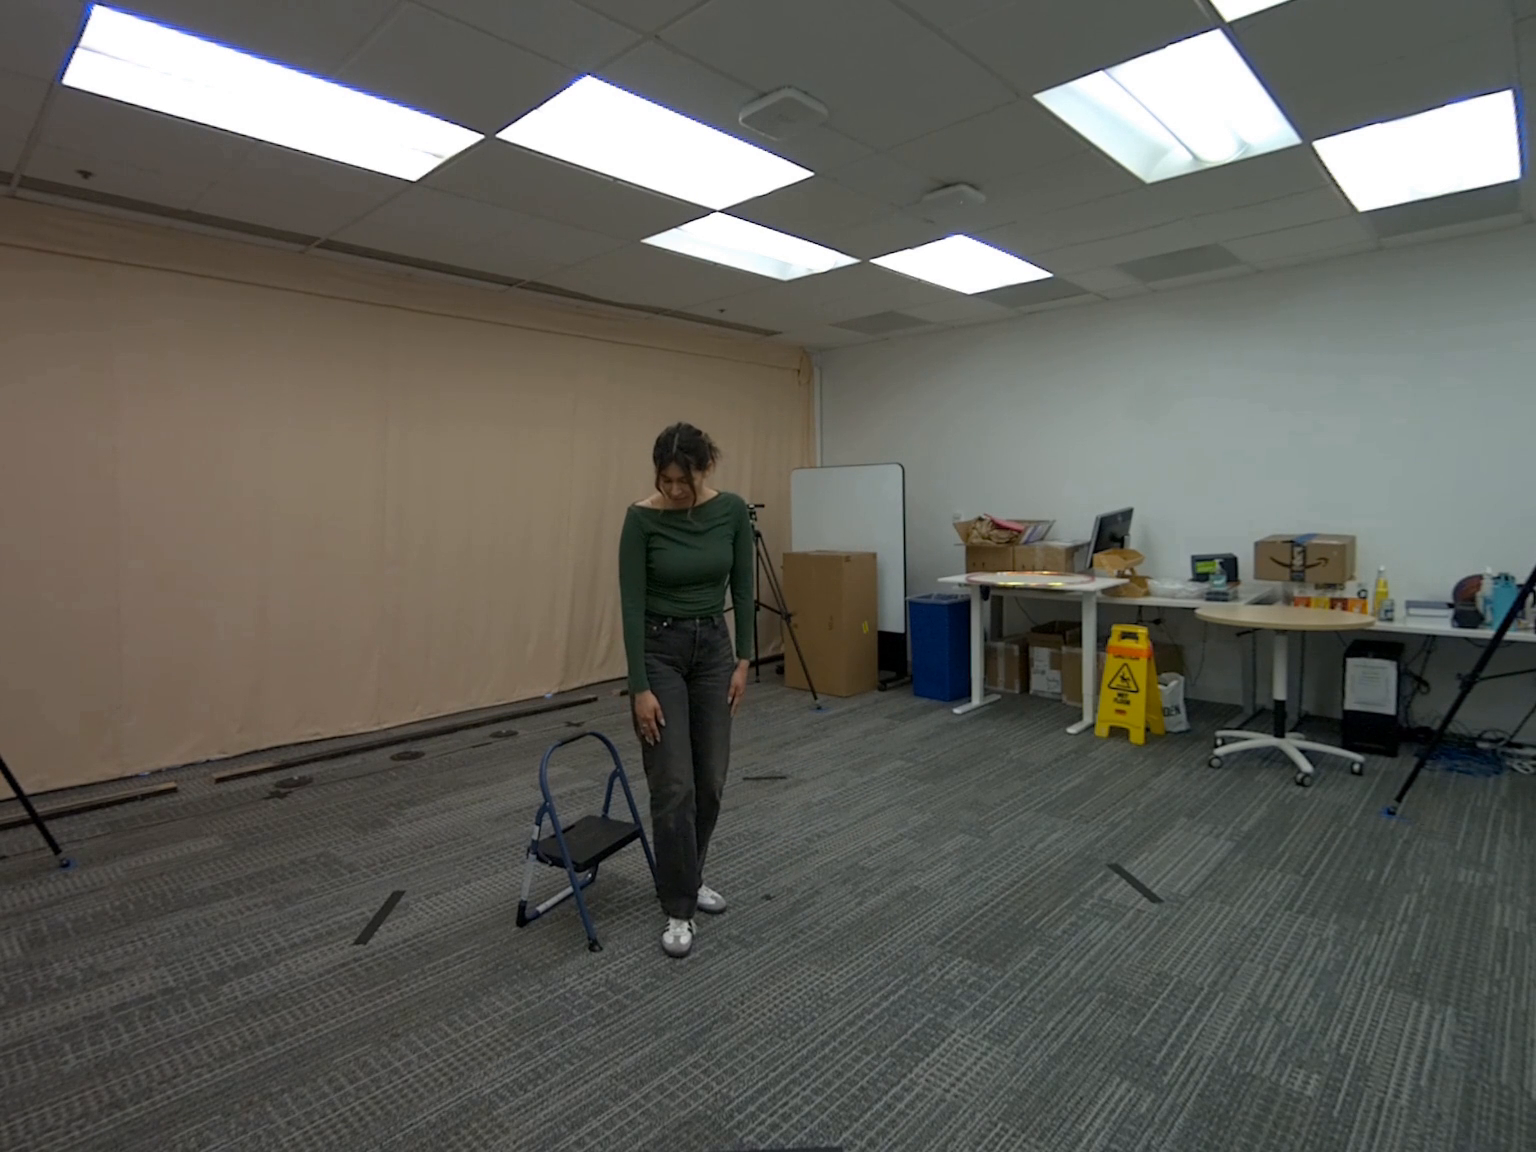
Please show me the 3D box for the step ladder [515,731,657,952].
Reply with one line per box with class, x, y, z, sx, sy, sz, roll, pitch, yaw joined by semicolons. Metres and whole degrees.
step ladder;-0.607;0.861;2.895;0.359;0.605;0.420;1;4;27
